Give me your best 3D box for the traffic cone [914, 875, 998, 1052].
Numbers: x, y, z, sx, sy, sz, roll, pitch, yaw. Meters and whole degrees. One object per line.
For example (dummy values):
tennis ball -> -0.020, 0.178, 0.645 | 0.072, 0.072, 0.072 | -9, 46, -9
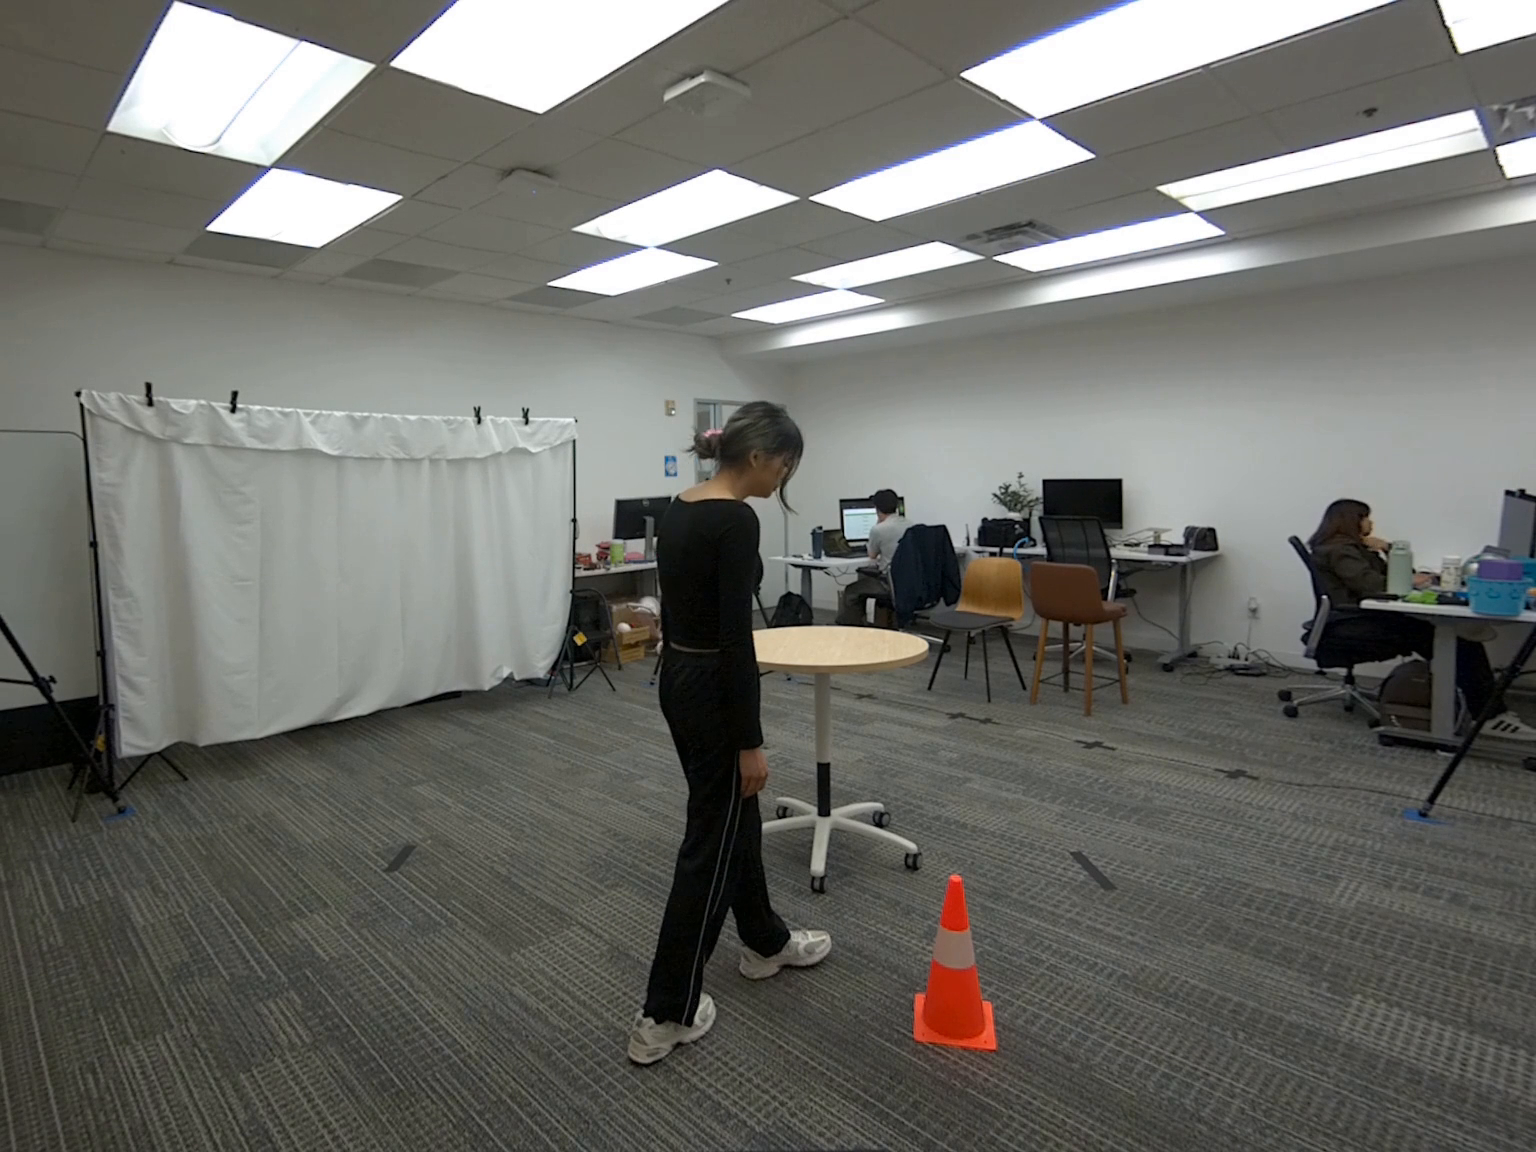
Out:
traffic cone -> 0.471, 0.951, 2.179 | 0.206, 0.382, 0.203 | -1, 4, 13
